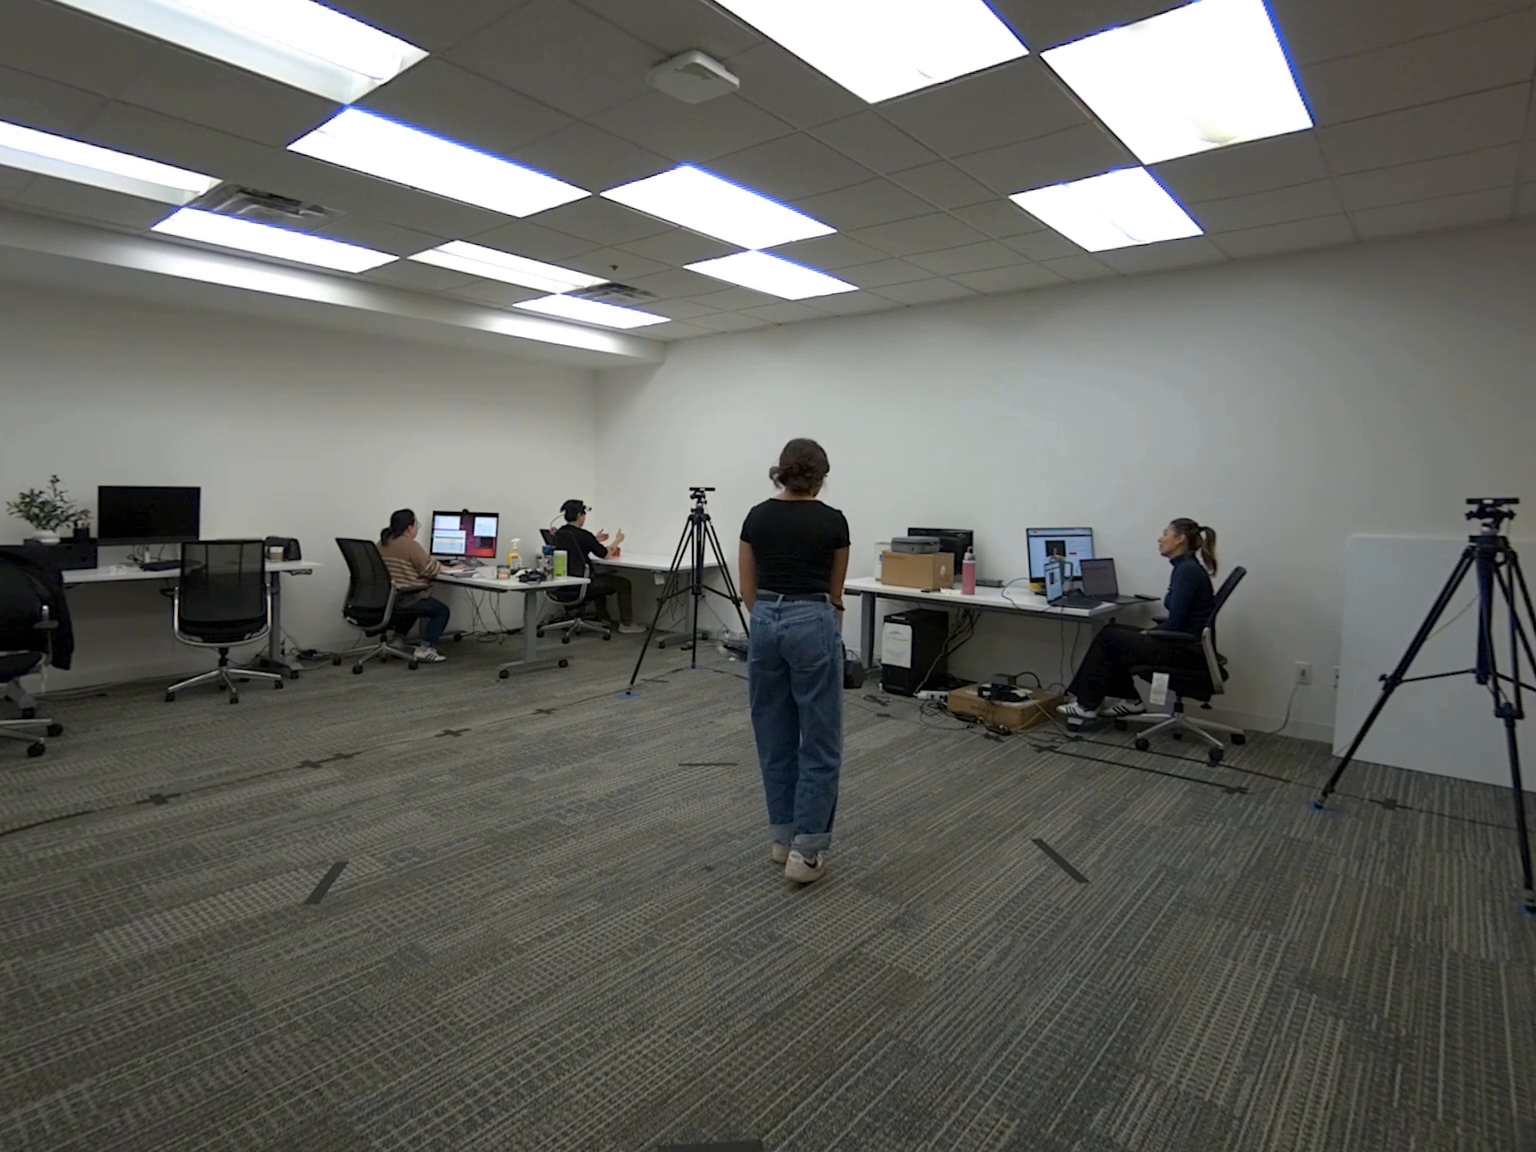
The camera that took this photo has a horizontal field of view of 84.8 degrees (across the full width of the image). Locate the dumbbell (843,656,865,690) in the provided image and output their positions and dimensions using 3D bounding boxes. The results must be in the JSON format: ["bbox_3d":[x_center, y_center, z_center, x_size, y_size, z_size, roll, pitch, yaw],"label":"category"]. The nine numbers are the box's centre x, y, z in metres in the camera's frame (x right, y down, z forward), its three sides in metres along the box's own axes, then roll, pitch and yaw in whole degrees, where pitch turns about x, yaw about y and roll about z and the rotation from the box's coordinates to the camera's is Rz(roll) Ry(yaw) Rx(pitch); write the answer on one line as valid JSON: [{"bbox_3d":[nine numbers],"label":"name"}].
[{"bbox_3d":[0.210,0.372,3.236,0.302,0.124,0.104,-4,-37,38],"label":"dumbbell"}]
